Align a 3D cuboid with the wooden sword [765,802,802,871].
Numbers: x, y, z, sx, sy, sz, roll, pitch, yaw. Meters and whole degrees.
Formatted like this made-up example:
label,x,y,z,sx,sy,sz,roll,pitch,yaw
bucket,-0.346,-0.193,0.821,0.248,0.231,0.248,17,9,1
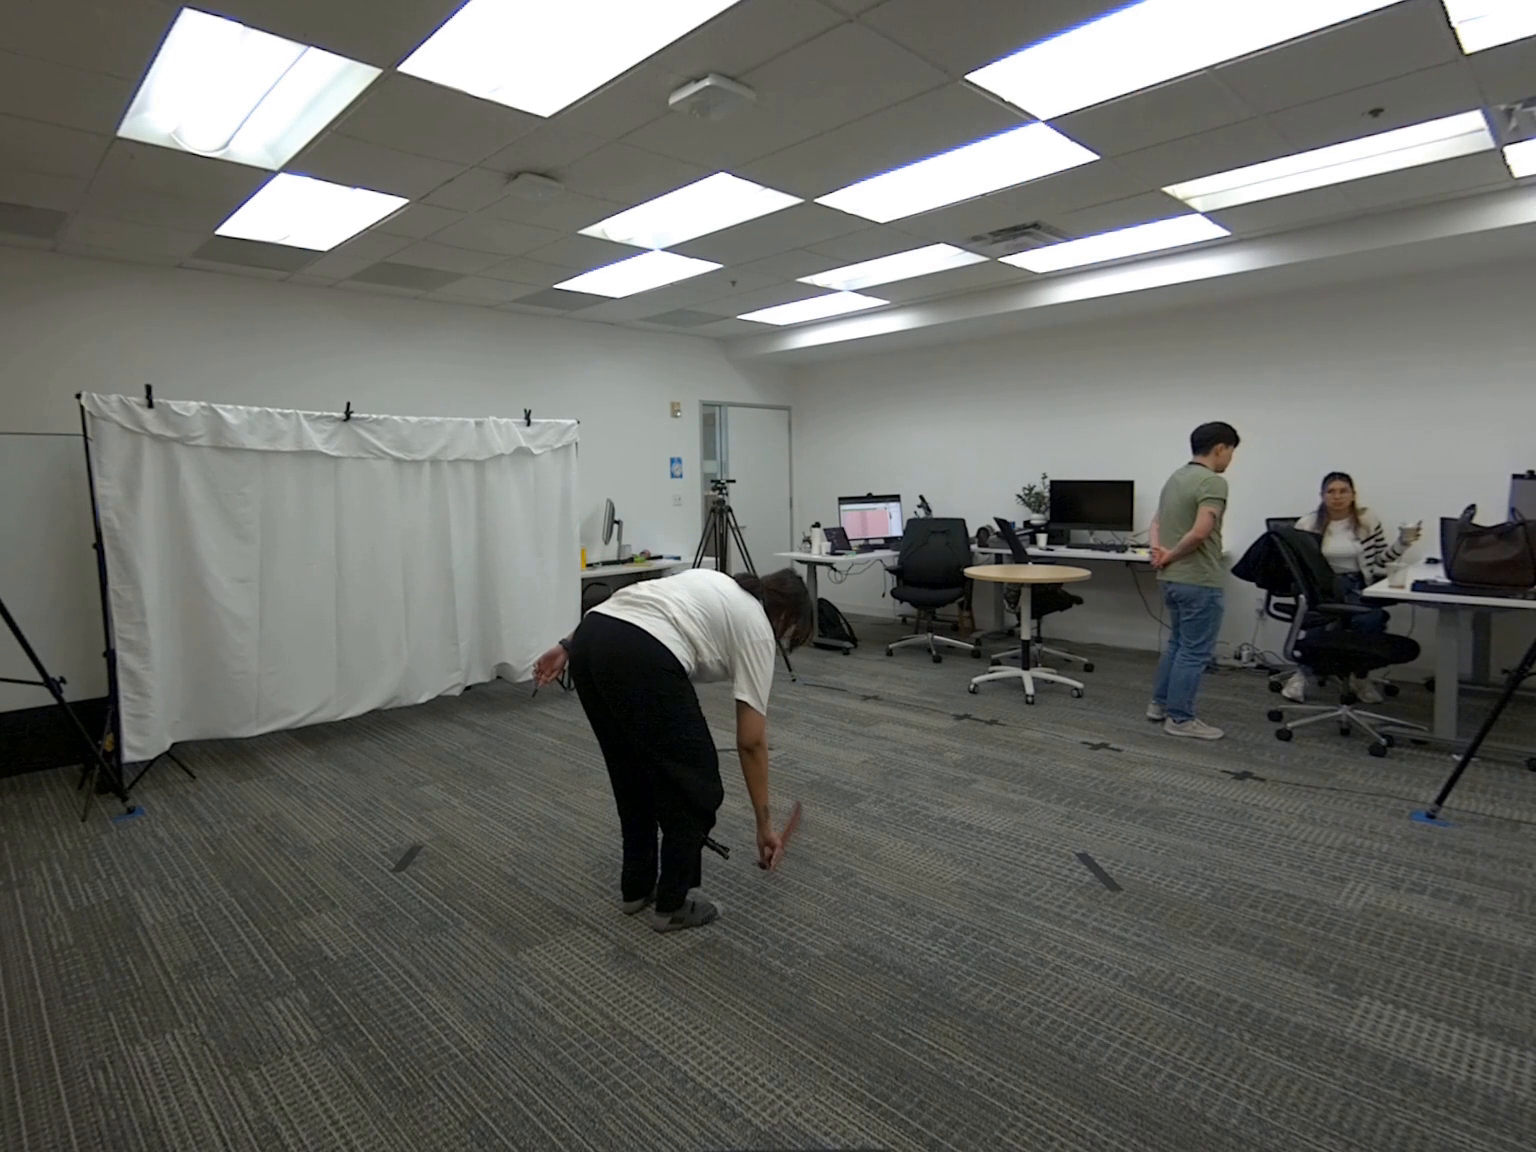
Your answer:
label,x,y,z,sx,sy,sz,roll,pitch,yaw
wooden sword,0.083,0.959,3.175,0.051,0.024,1.015,-8,-3,4
